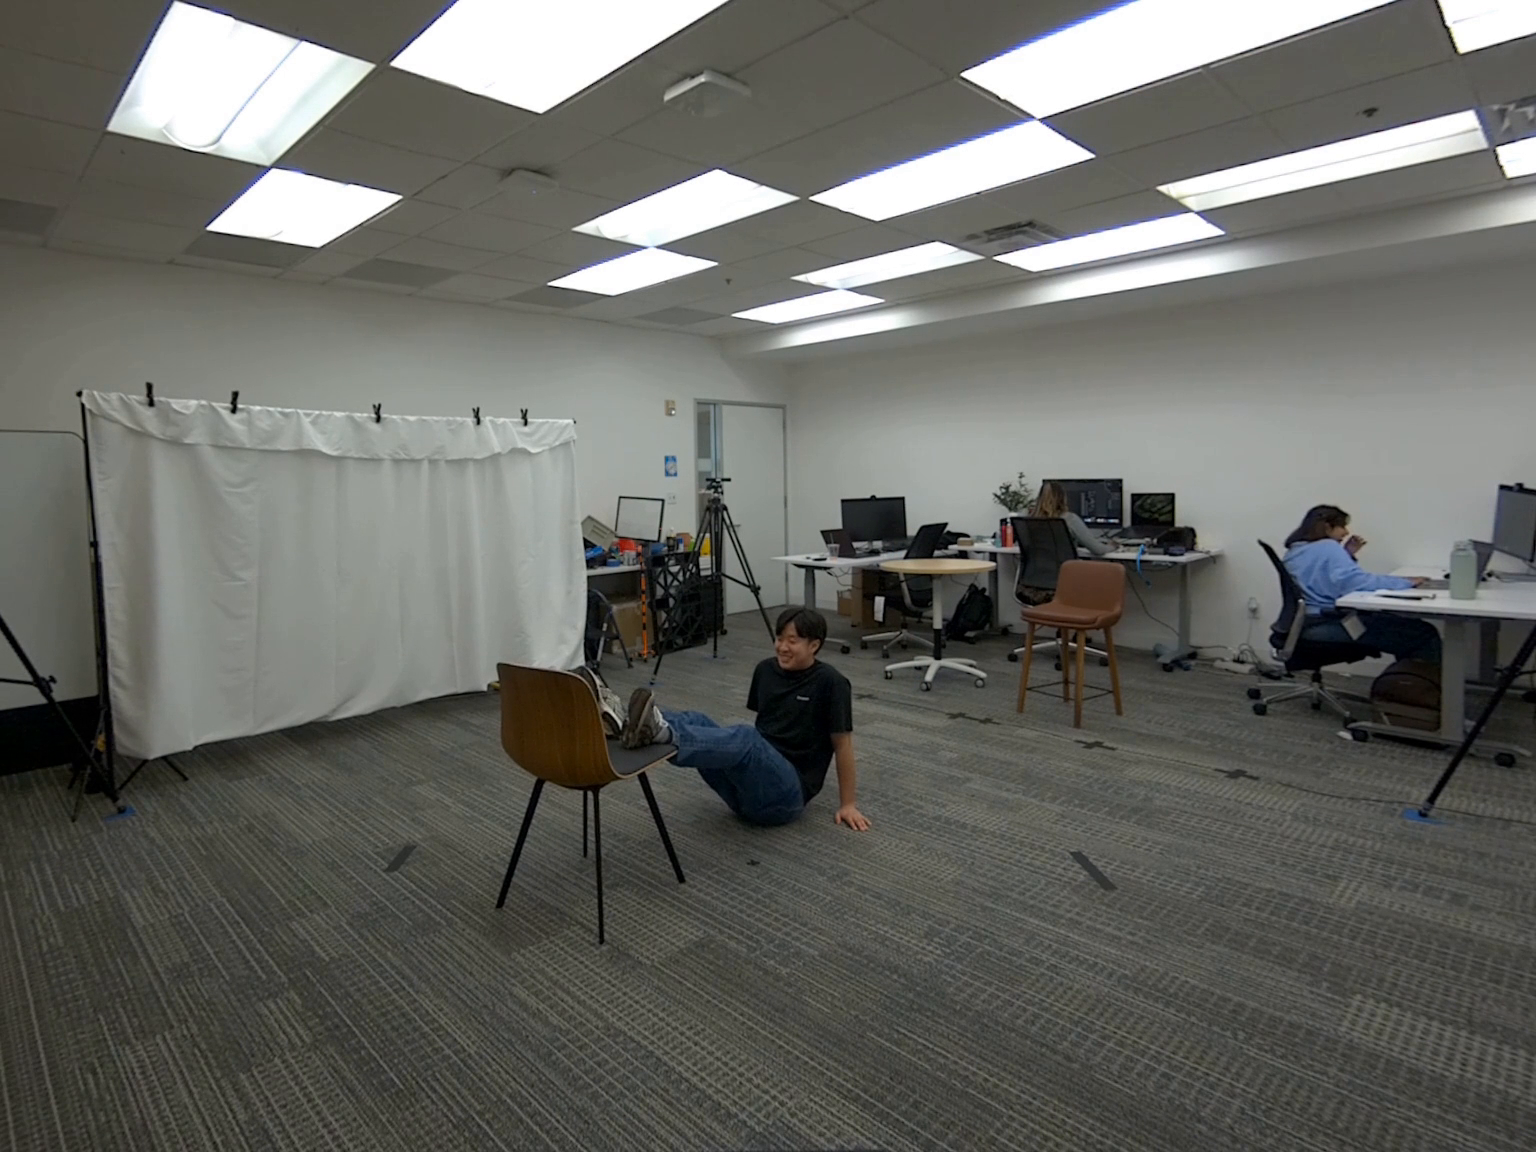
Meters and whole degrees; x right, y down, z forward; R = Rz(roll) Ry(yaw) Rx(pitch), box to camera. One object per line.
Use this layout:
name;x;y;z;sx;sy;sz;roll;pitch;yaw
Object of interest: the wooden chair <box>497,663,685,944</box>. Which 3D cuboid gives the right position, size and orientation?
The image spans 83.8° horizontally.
wooden chair;-0.591;0.653;2.858;0.491;0.871;0.513;2;9;30
